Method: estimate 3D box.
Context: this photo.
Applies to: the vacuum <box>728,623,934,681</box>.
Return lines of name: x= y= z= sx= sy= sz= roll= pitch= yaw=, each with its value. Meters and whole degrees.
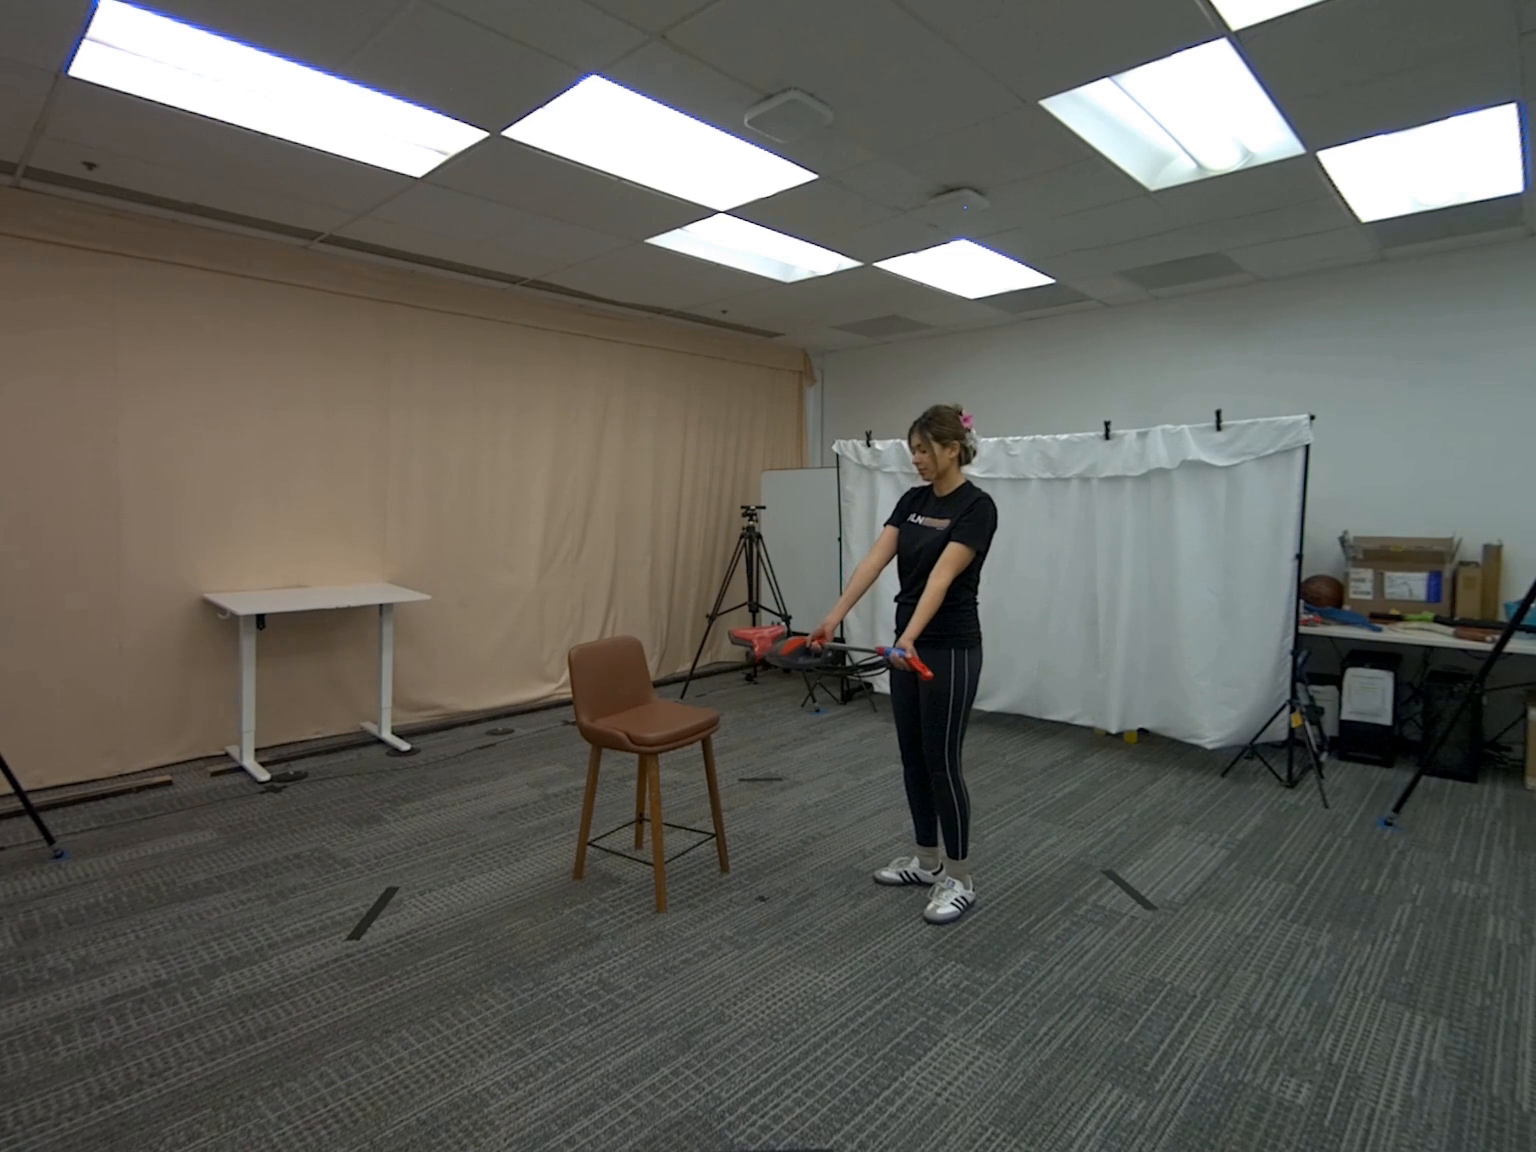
vacuum: x=0.213 y=0.292 z=2.921 sx=0.246 sy=0.144 sz=1.076 roll=-3 pitch=2 yaw=-27
